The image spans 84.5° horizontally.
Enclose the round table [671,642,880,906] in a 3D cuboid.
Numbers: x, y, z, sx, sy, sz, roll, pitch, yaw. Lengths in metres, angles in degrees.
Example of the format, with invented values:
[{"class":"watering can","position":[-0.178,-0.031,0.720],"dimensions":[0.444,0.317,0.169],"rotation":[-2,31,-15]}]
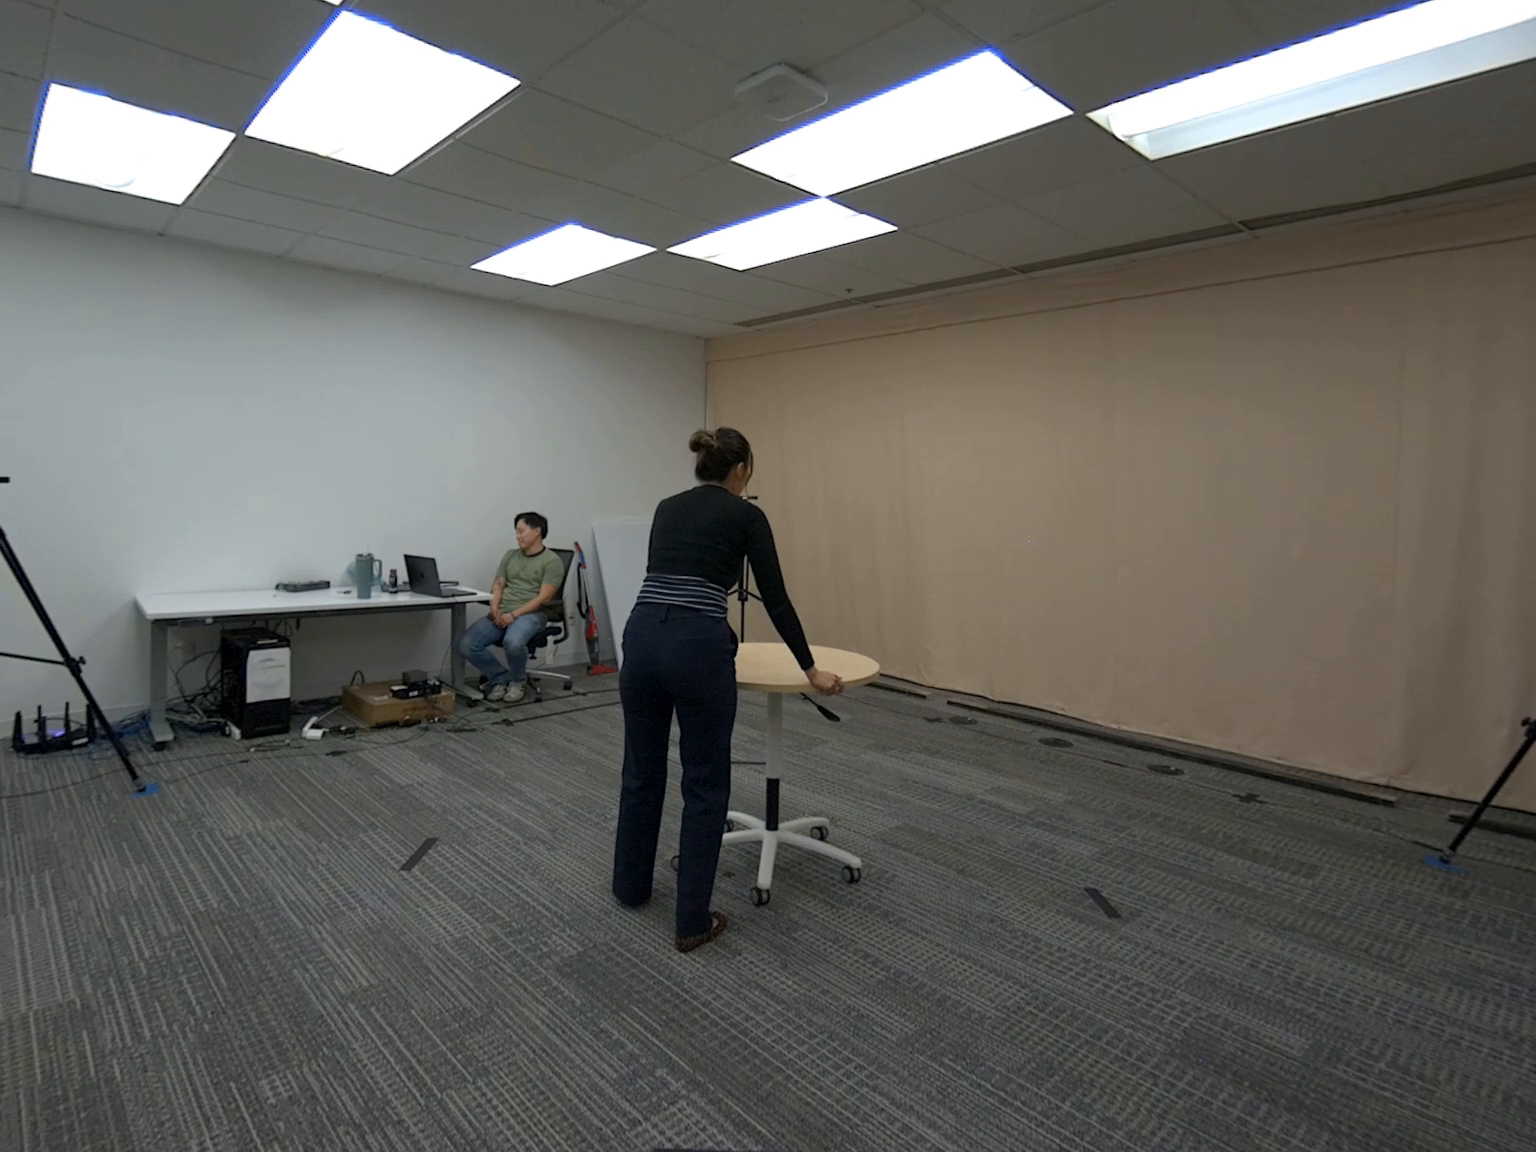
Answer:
[{"class":"round table","position":[0.008,0.712,3.174],"dimensions":[0.763,0.792,0.767],"rotation":[1,4,-1]}]
